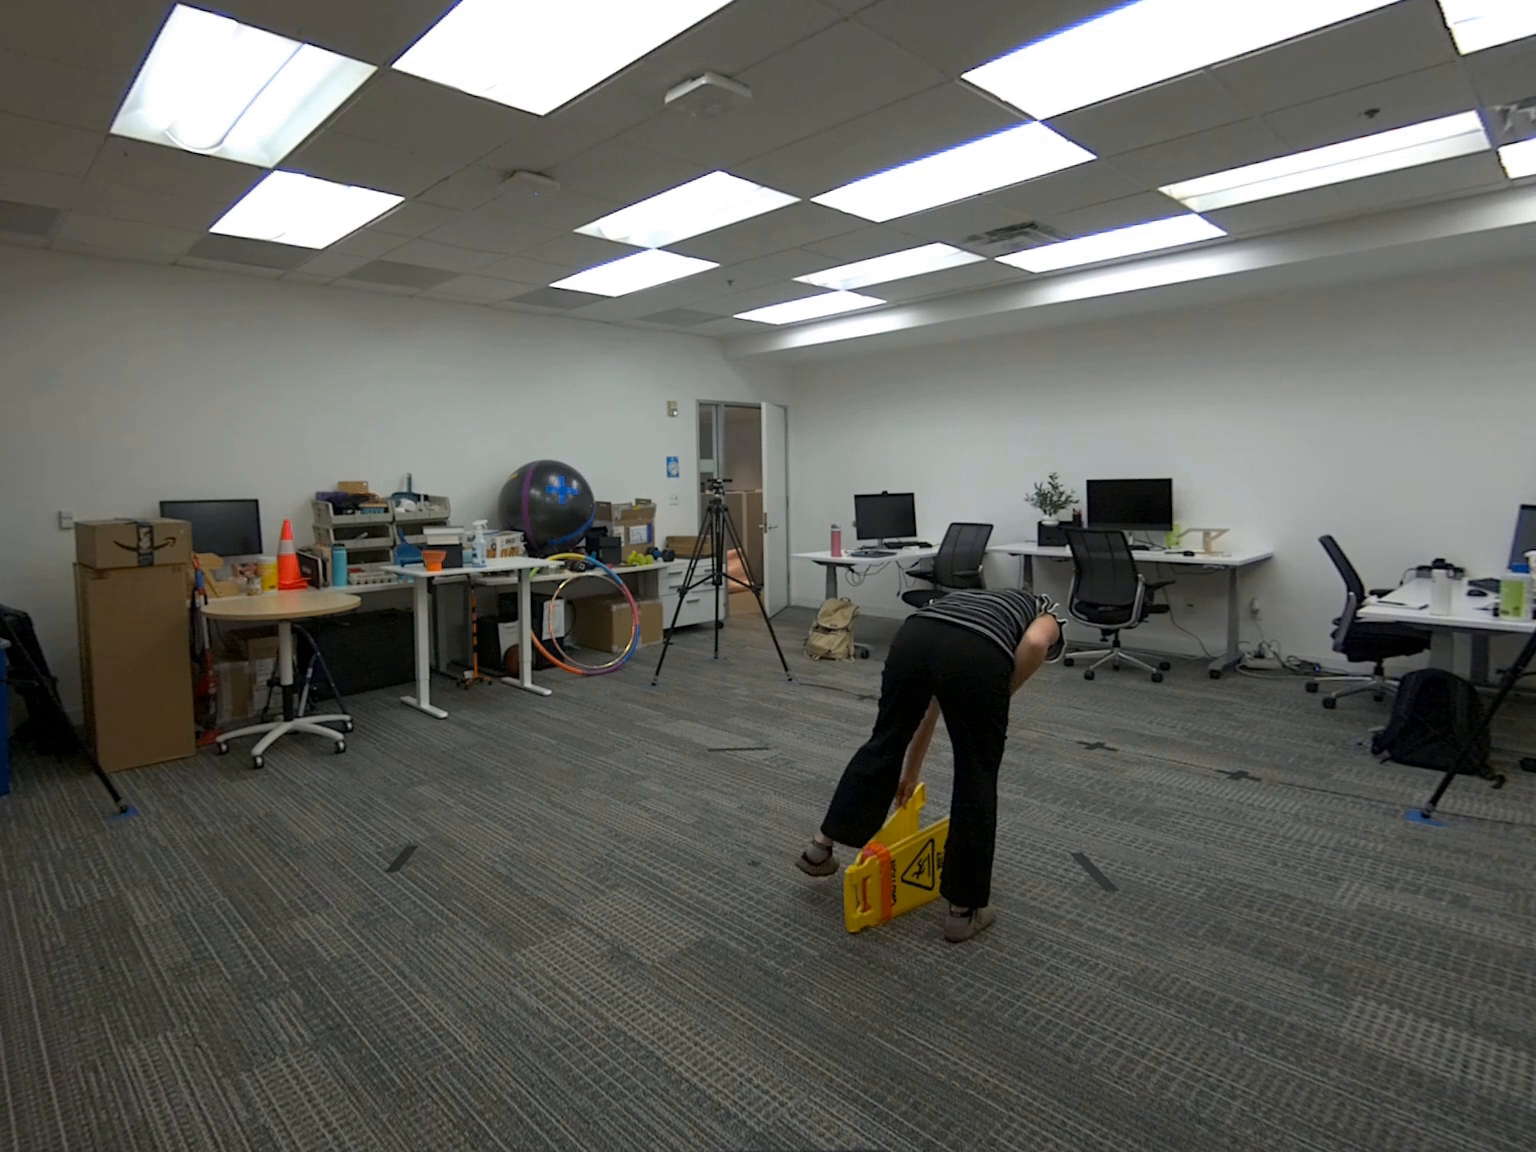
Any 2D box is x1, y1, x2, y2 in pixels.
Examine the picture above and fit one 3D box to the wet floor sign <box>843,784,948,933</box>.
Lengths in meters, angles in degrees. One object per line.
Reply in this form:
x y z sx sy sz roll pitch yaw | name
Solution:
0.463 0.946 2.818 0.299 0.280 0.631 4 11 42 | wet floor sign
